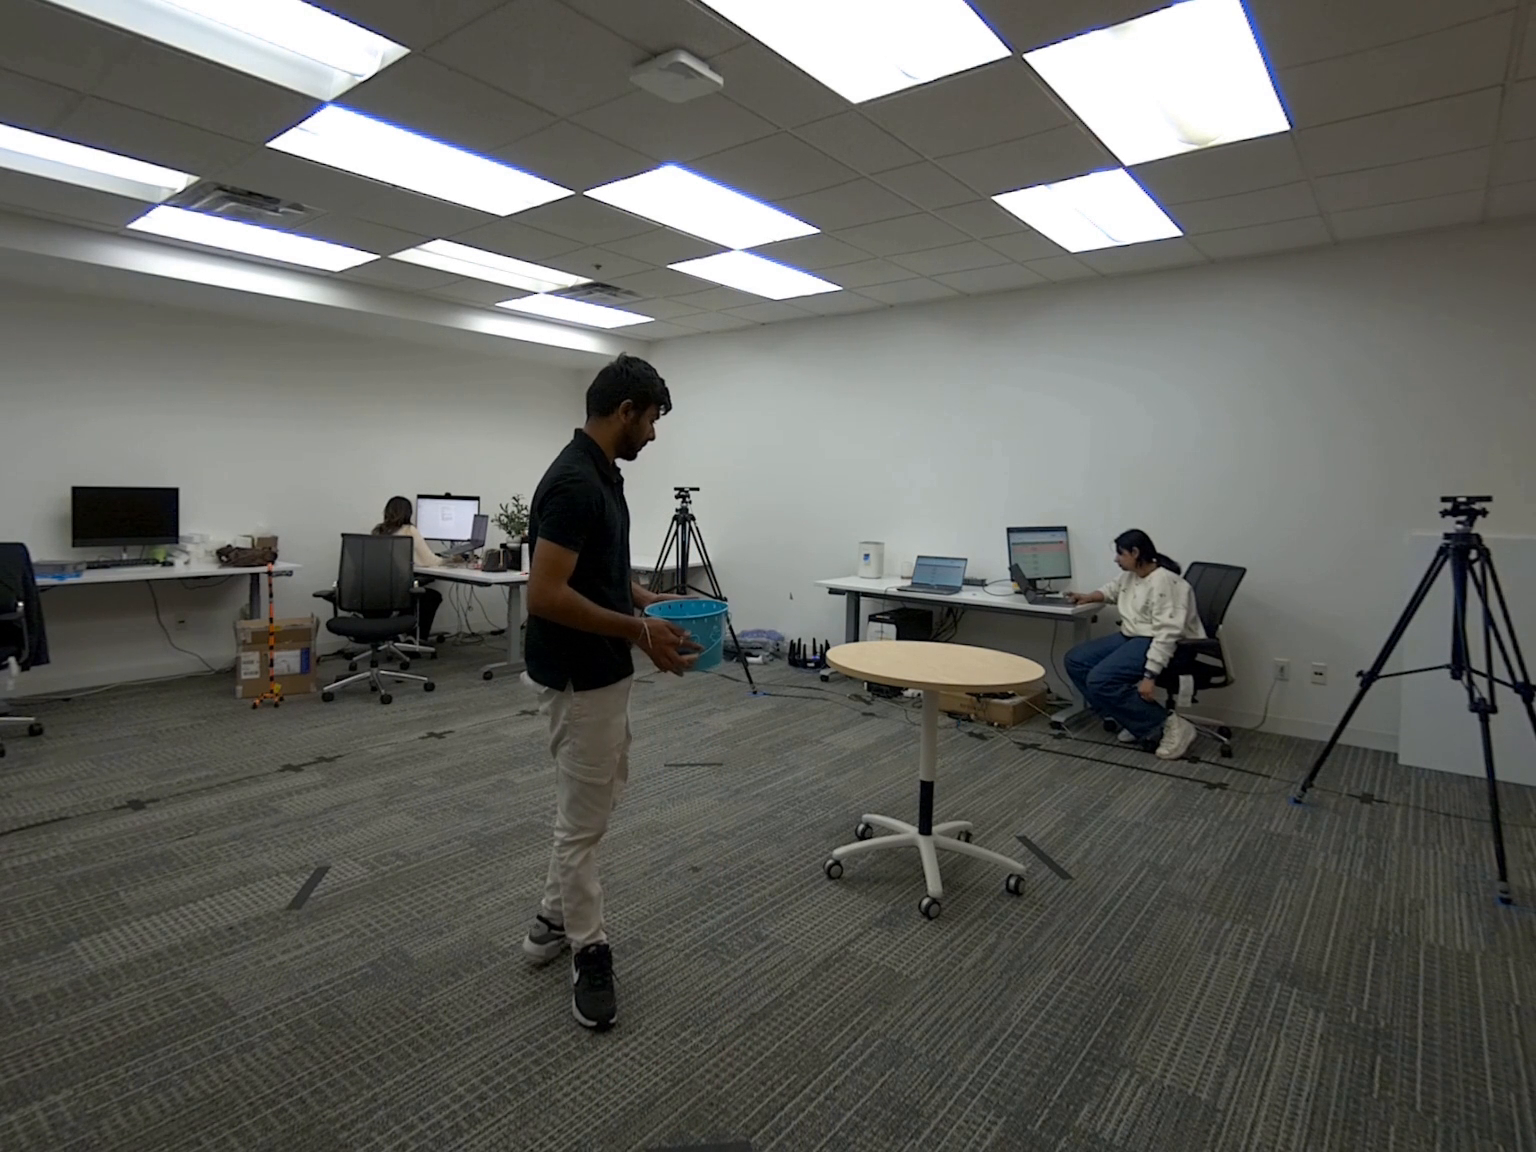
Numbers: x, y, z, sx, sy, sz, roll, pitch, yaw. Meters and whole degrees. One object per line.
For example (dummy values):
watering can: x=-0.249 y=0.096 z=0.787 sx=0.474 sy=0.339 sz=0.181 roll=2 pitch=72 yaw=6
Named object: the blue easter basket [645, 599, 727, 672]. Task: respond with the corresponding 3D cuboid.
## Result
blue easter basket: x=-0.232 y=0.168 z=2.265 sx=0.243 sy=0.155 sz=0.246 roll=-2 pitch=9 yaw=-1
